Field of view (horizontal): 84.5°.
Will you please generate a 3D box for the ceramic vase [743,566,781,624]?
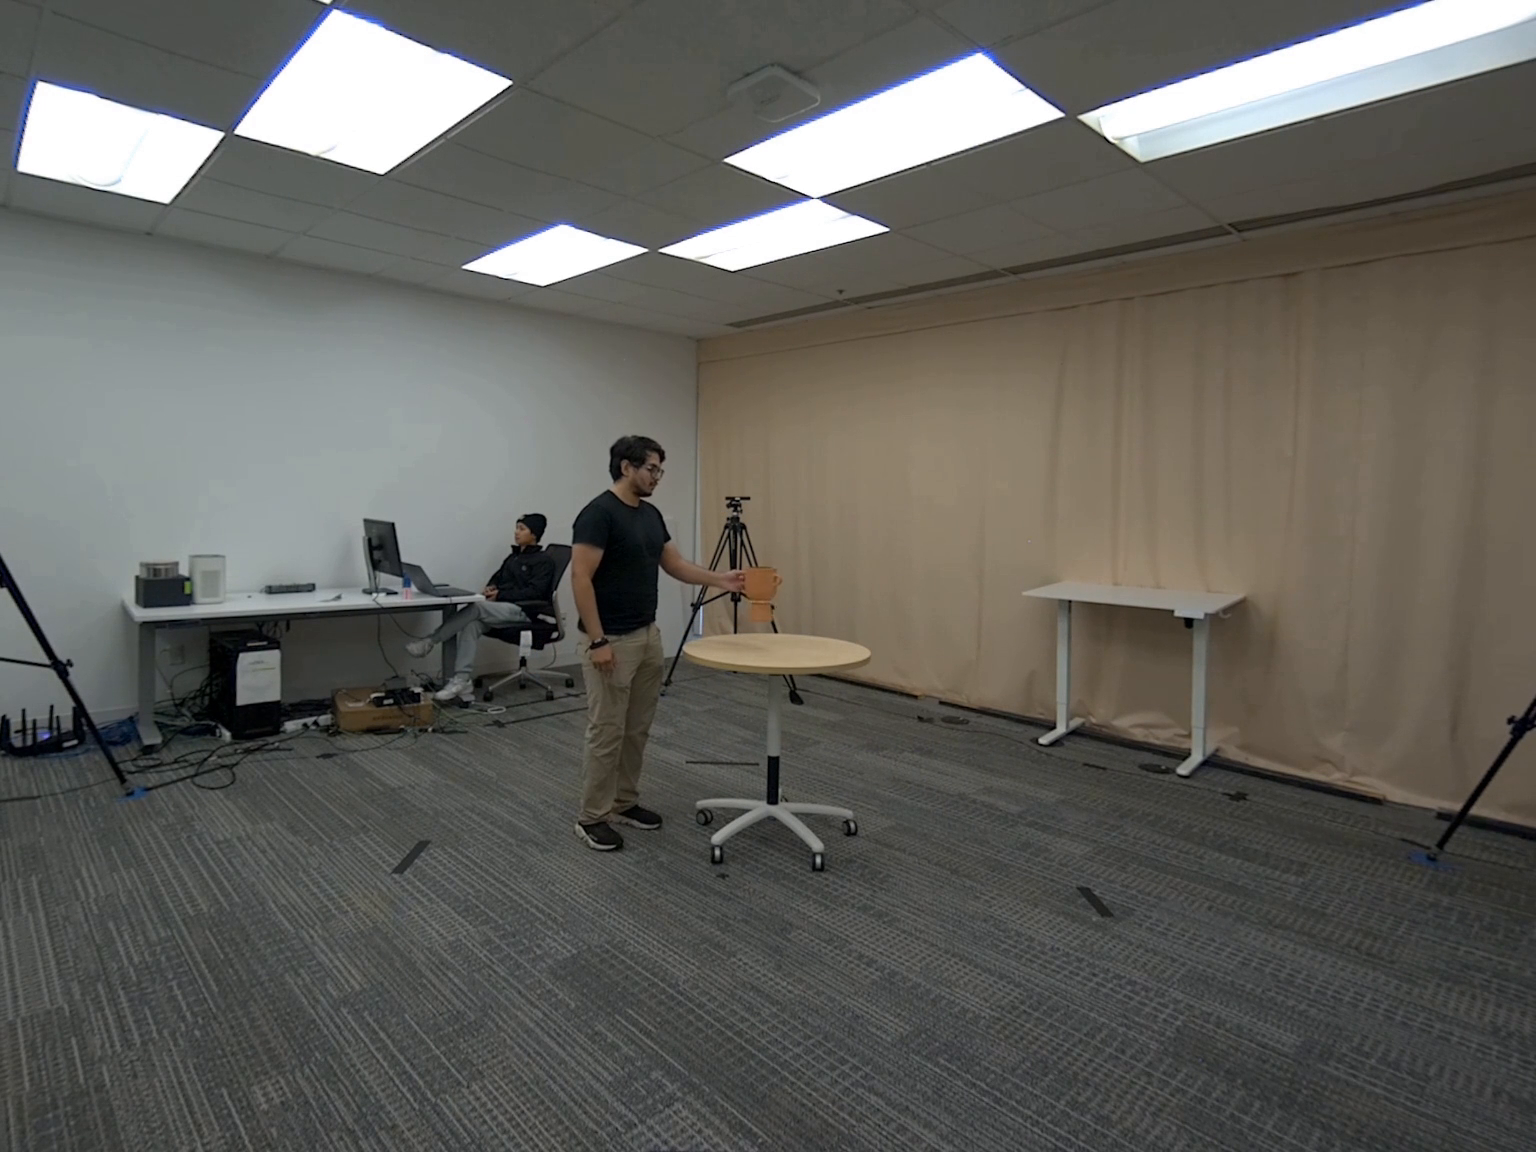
[{"bbox_3d":[-0.045,0.076,3.467,0.133,0.219,0.161,-1,4,-19],"label":"ceramic vase"}]
